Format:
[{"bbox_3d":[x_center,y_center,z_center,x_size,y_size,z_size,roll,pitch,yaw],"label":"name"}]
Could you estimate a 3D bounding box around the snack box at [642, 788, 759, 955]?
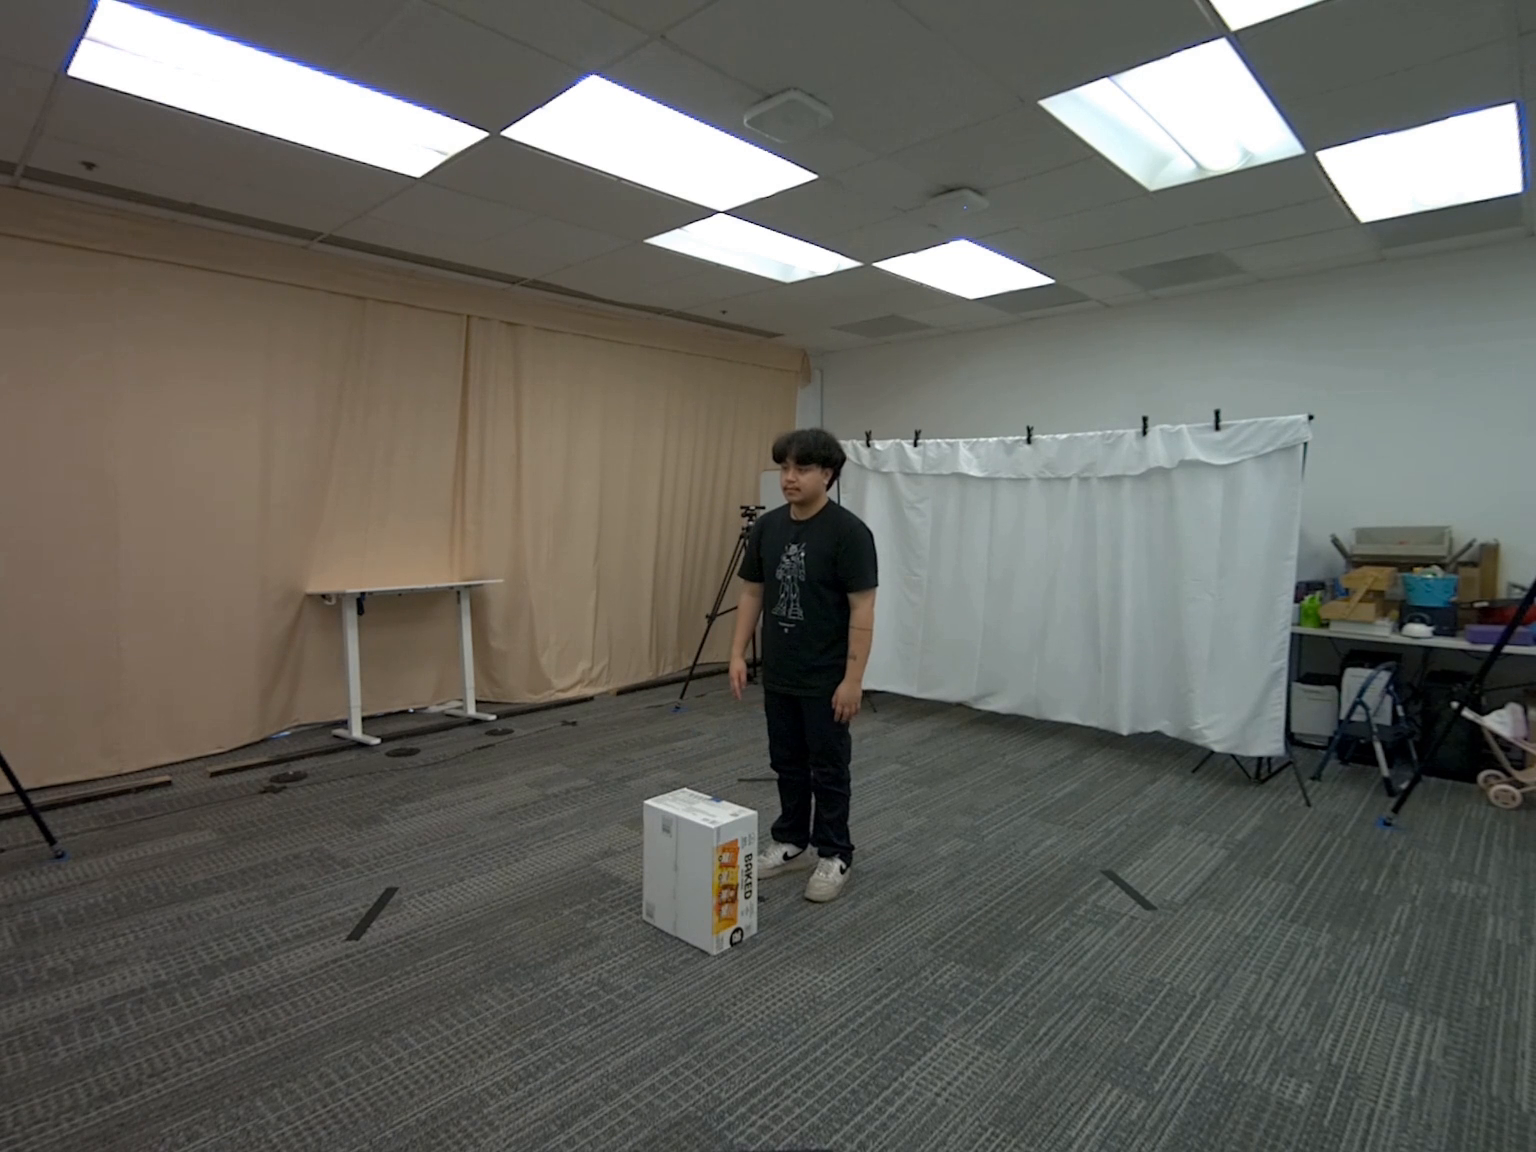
[{"bbox_3d":[-0.226,0.957,2.786,0.352,0.404,0.199,3,5,42],"label":"snack box"}]
